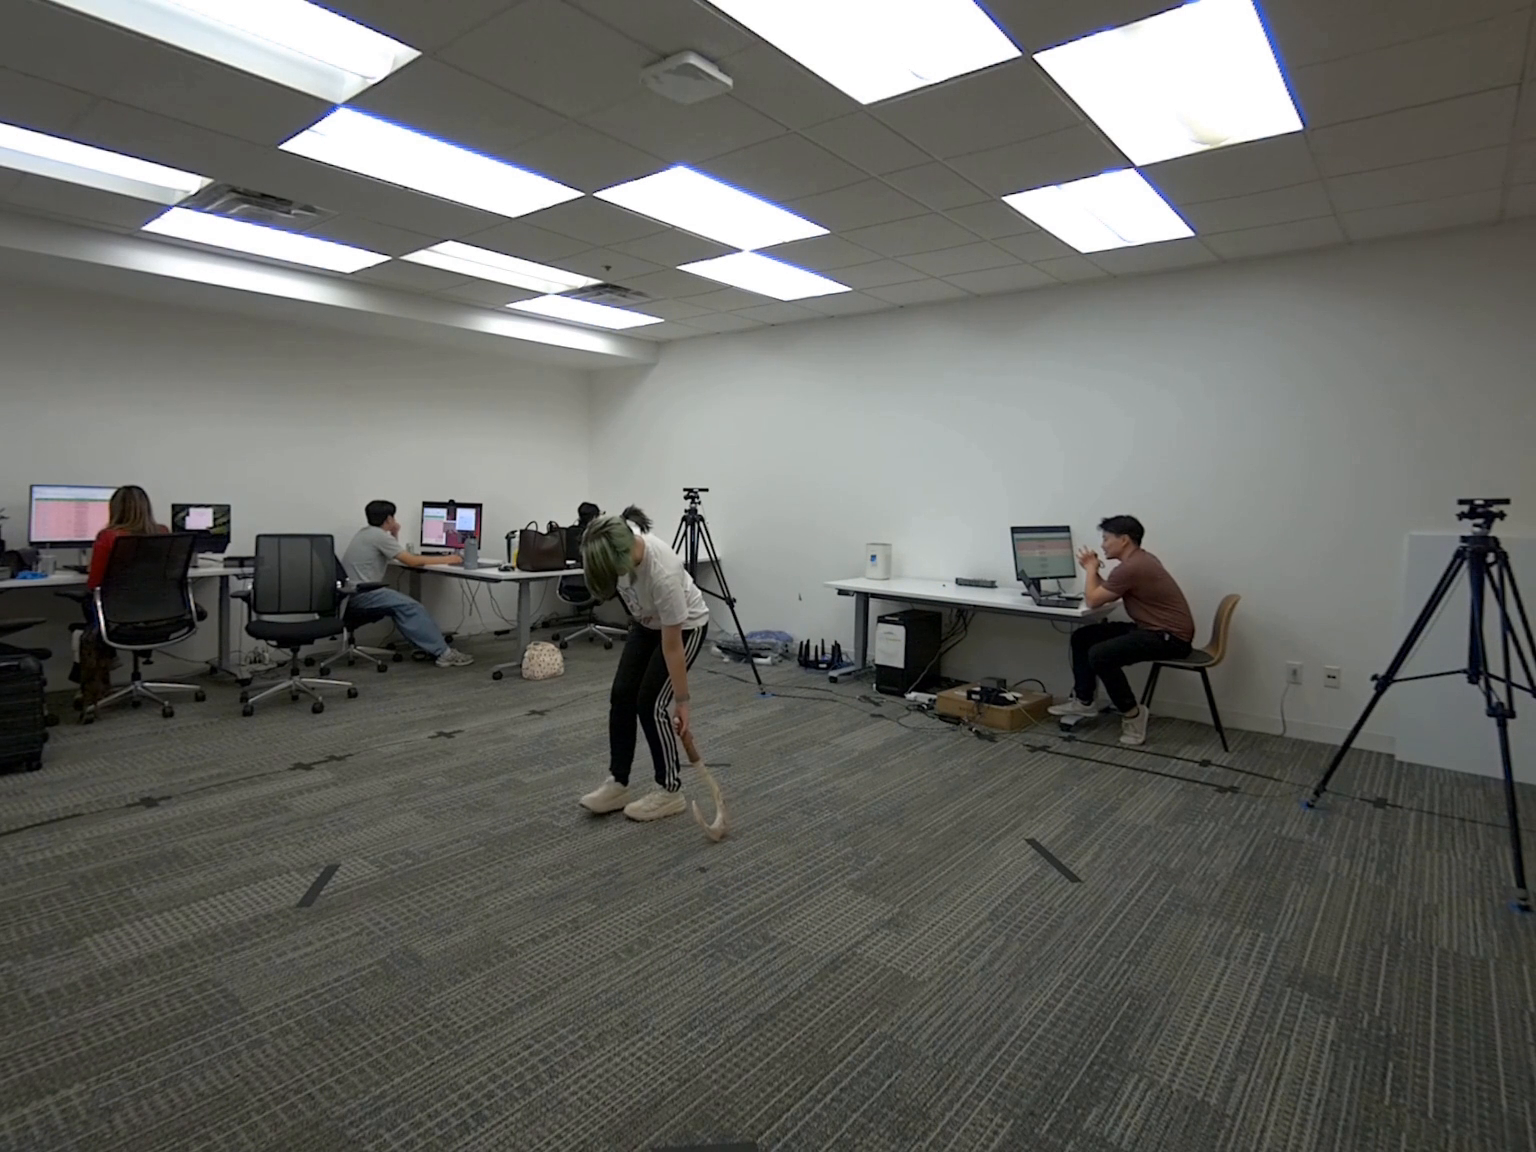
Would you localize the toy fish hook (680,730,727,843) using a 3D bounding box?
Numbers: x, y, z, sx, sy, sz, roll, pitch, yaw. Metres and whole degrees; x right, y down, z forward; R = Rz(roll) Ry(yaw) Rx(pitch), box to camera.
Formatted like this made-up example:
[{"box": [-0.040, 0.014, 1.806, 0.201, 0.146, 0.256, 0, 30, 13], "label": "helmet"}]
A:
[{"box": [-0.287, 0.805, 3.393, 0.049, 0.506, 0.222, -25, 1, 20], "label": "toy fish hook"}]
